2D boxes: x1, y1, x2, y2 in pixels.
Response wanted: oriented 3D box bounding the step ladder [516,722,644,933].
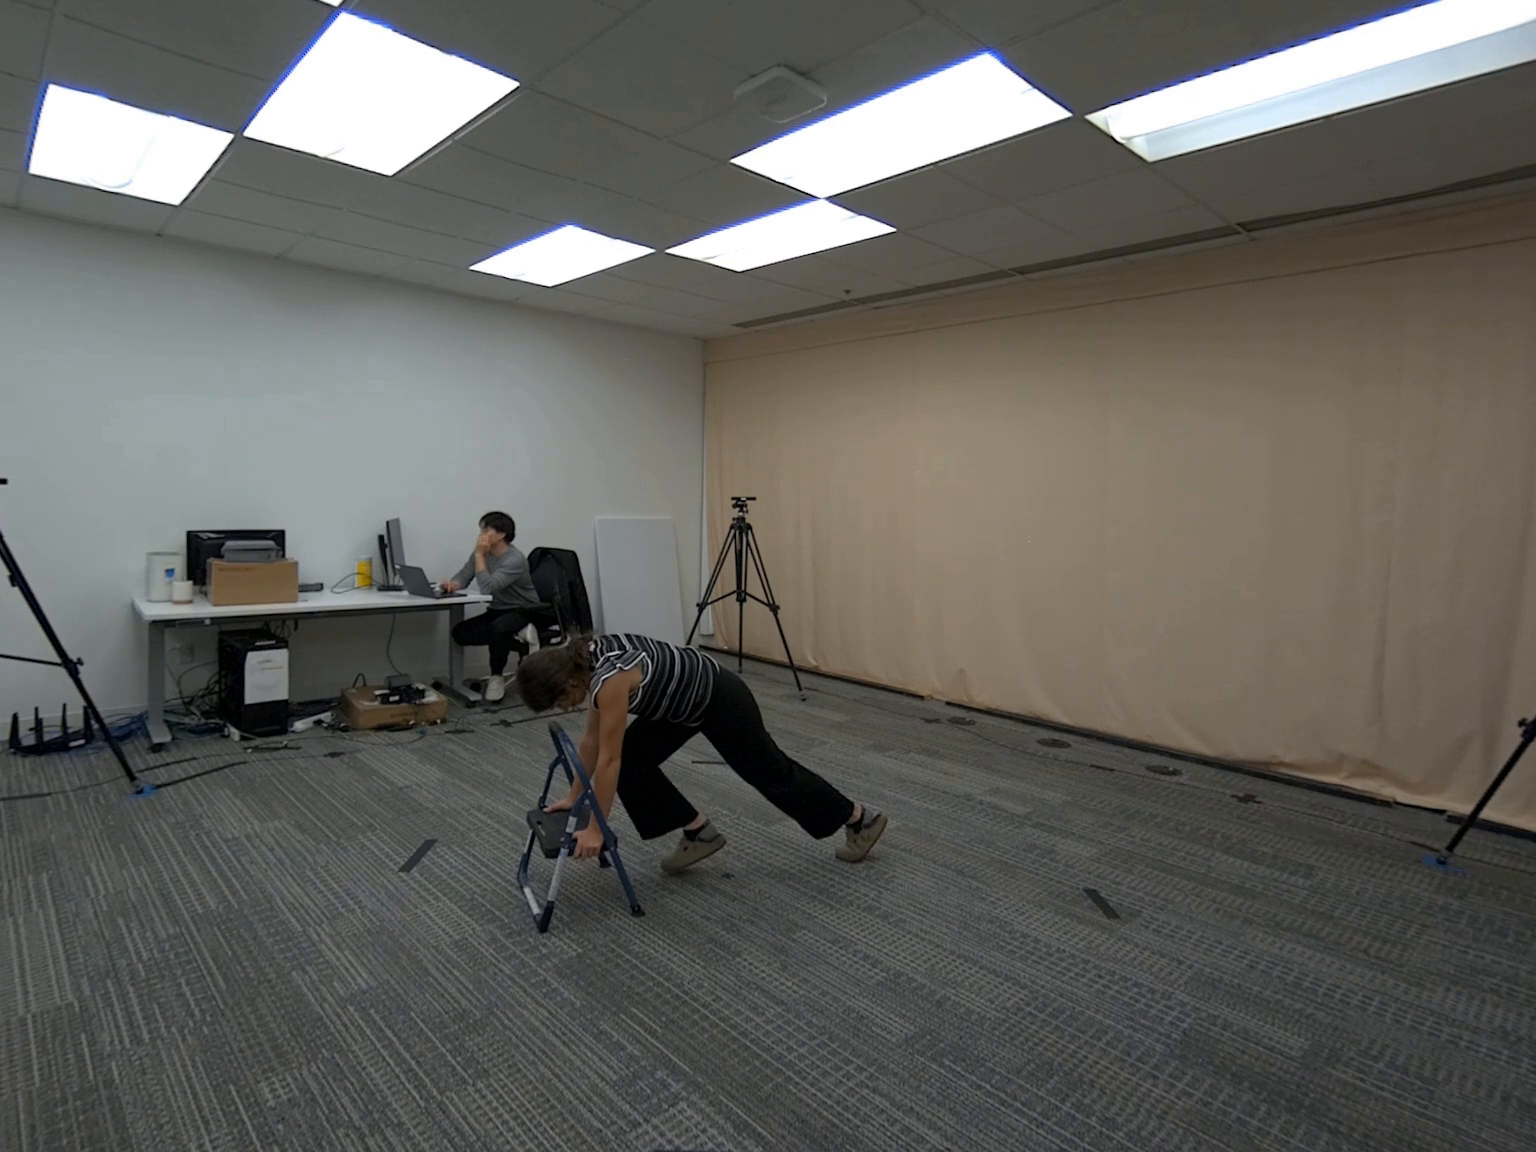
[{"bbox_3d":[-0.663,0.815,2.898,0.343,0.604,0.440,-1,4,-26],"label":"step ladder"}]
